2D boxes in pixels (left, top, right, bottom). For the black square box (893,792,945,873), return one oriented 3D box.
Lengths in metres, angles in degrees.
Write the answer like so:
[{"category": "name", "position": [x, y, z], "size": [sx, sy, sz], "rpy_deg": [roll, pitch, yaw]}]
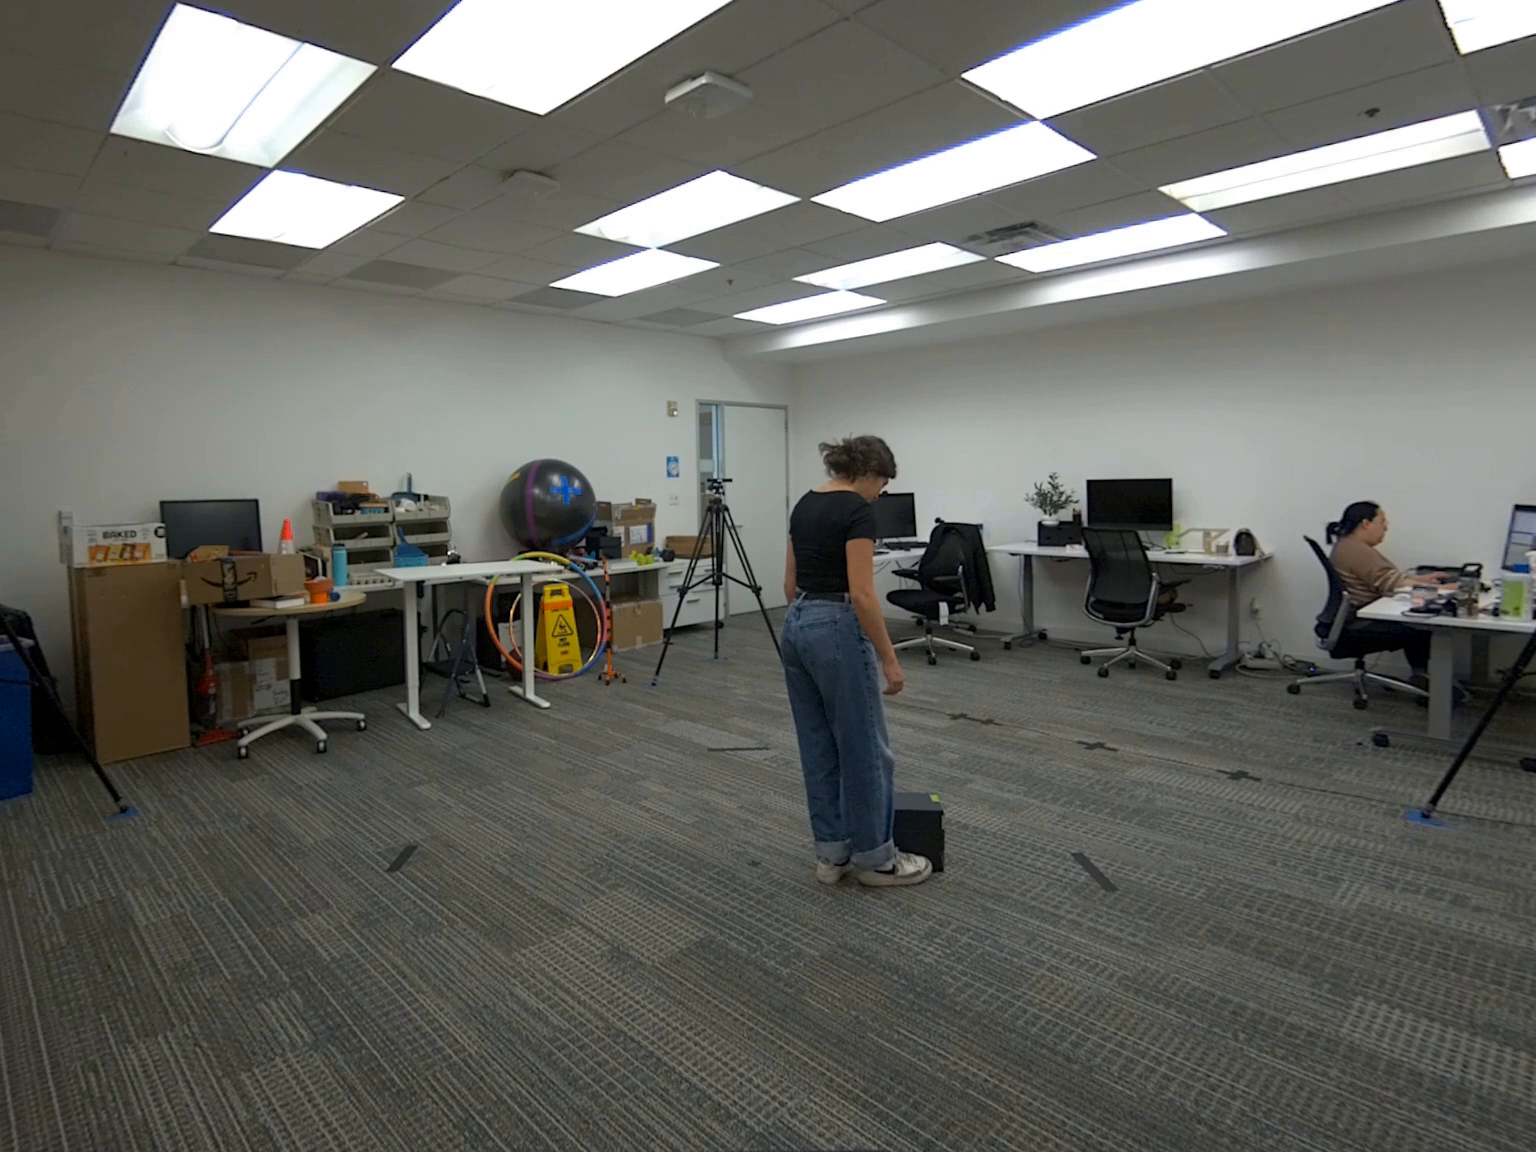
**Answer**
[{"category": "black square box", "position": [0.512, 0.916, 3.080], "size": [0.218, 0.227, 0.156], "rpy_deg": [0, 4, 4]}]
